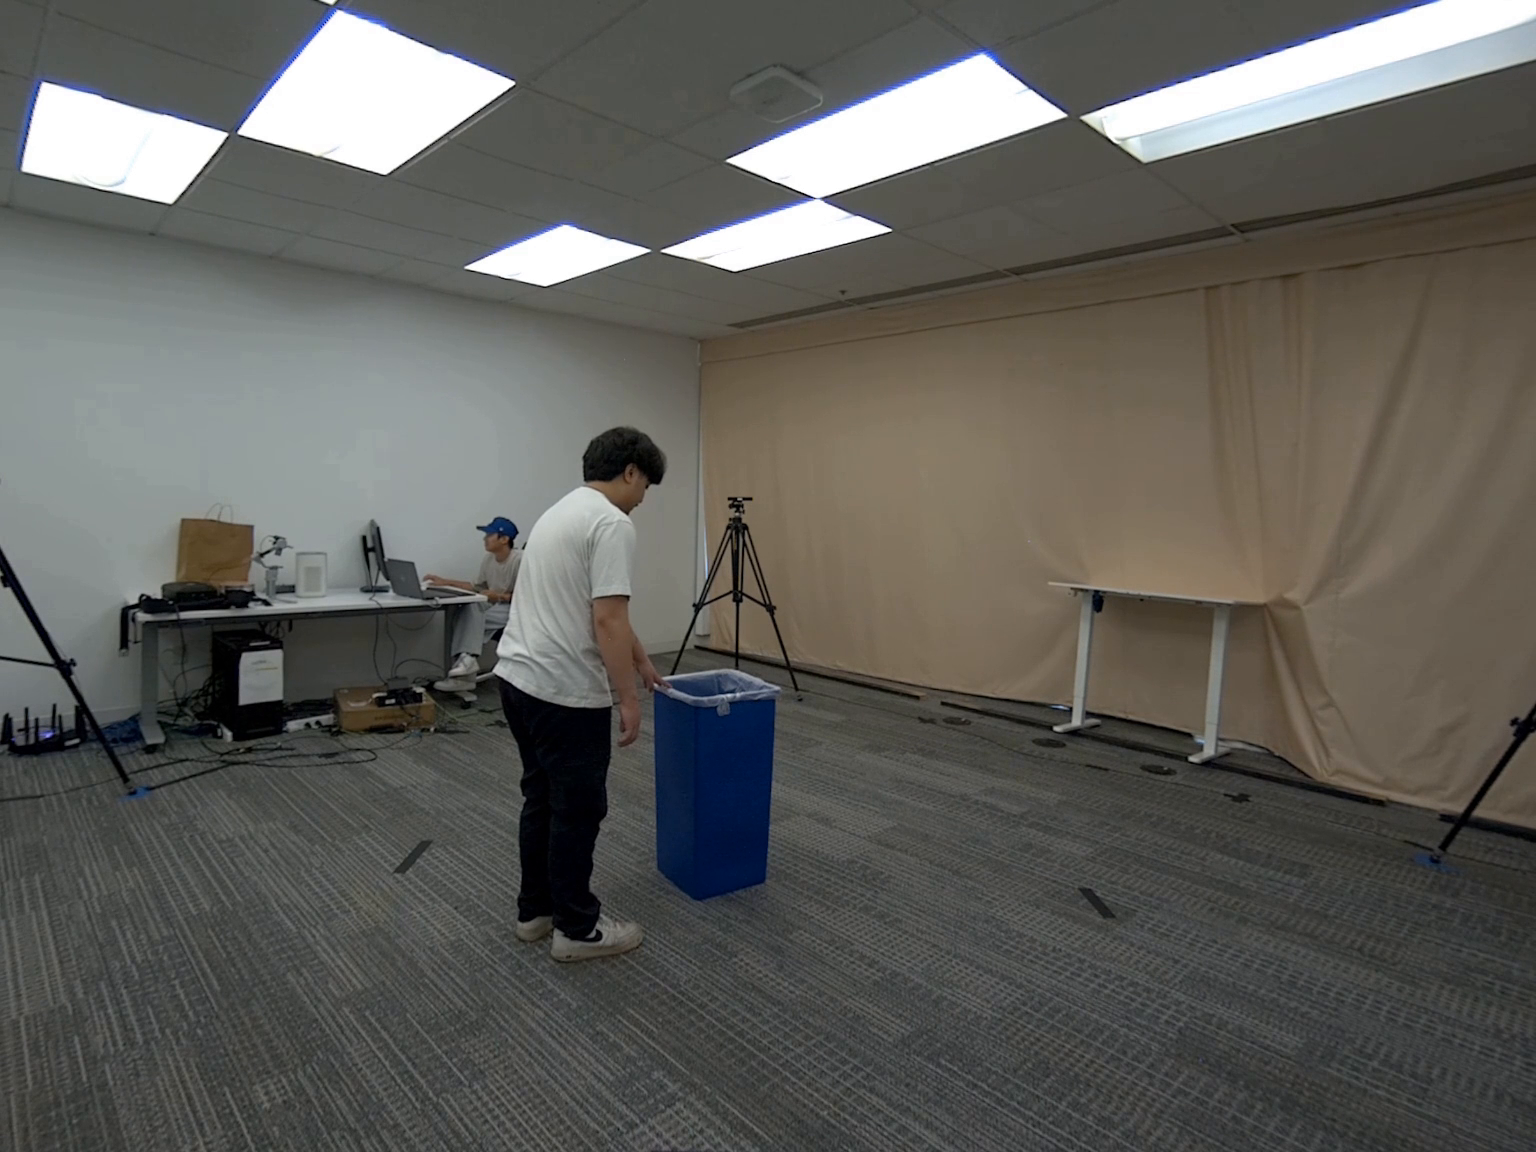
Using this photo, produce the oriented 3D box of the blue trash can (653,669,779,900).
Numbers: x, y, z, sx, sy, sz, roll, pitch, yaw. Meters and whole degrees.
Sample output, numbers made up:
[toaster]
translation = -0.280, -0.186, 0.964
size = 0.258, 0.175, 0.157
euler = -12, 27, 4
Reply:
[blue trash can]
translation = -0.216, 0.747, 3.096
size = 0.370, 0.712, 0.383
euler = -1, 4, -34
